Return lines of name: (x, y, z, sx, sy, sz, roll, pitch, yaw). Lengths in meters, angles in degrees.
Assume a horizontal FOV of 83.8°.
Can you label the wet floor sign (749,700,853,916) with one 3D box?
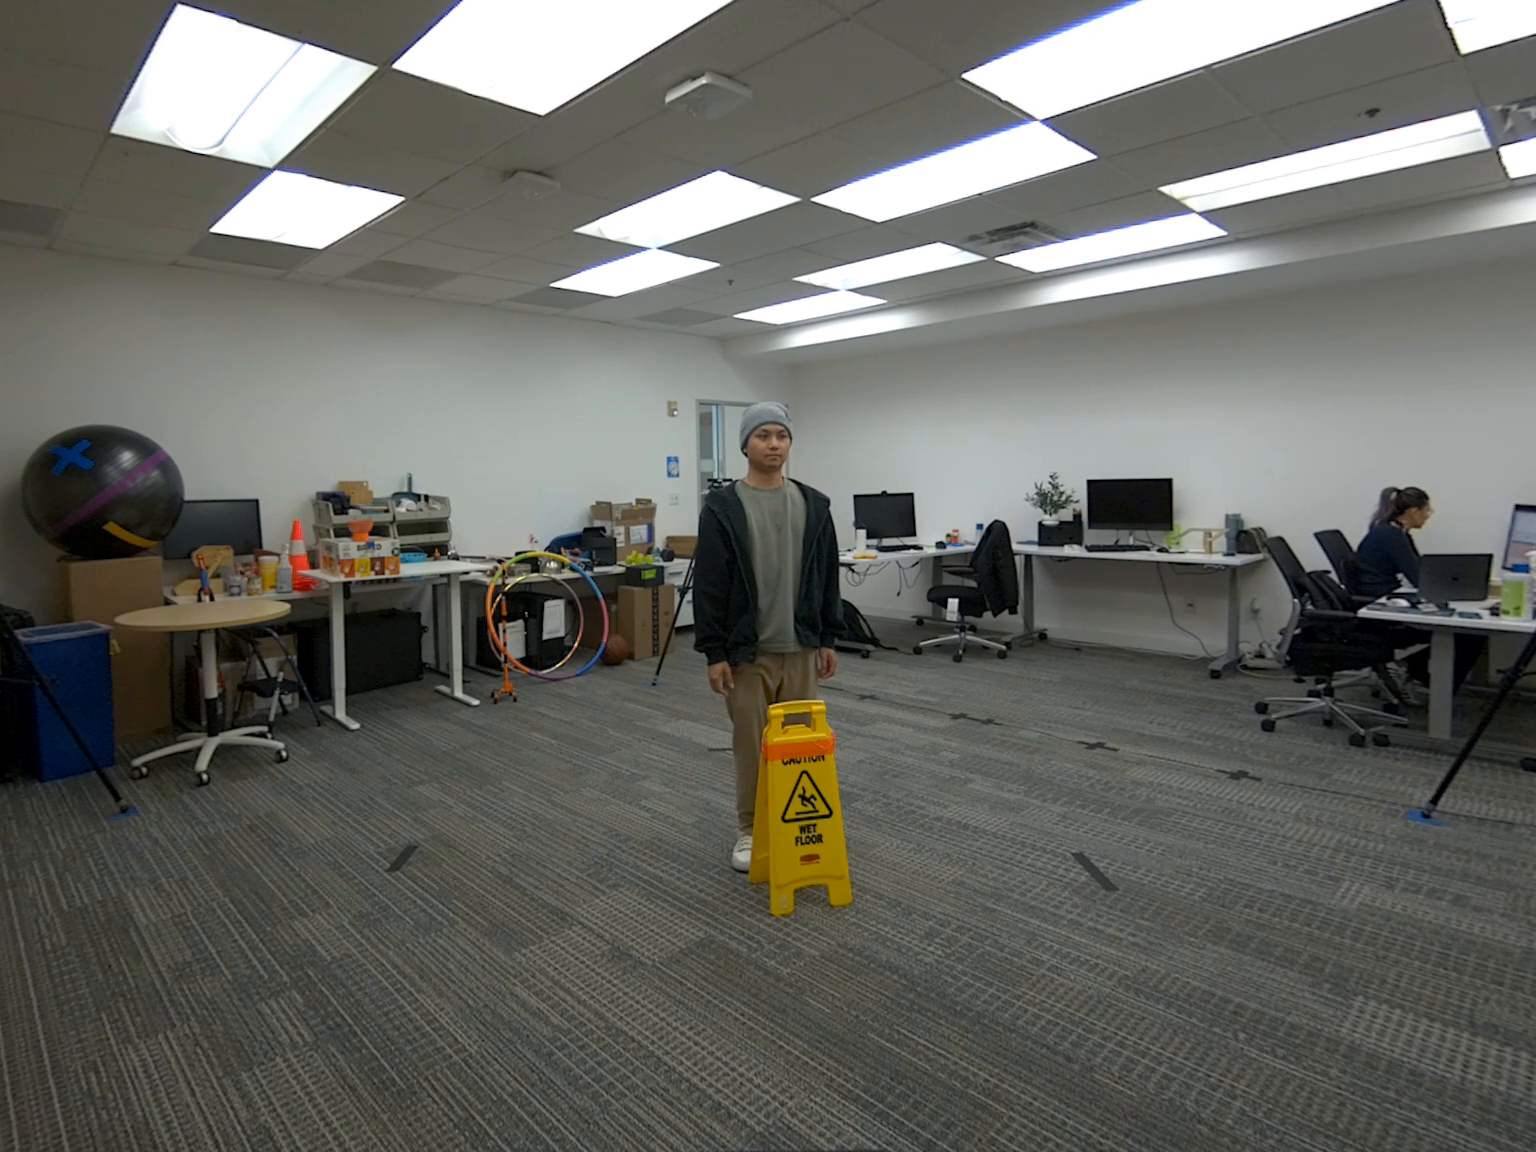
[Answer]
wet floor sign: (0.102, 0.744, 2.860, 0.278, 0.642, 0.295, -3, 6, -16)
